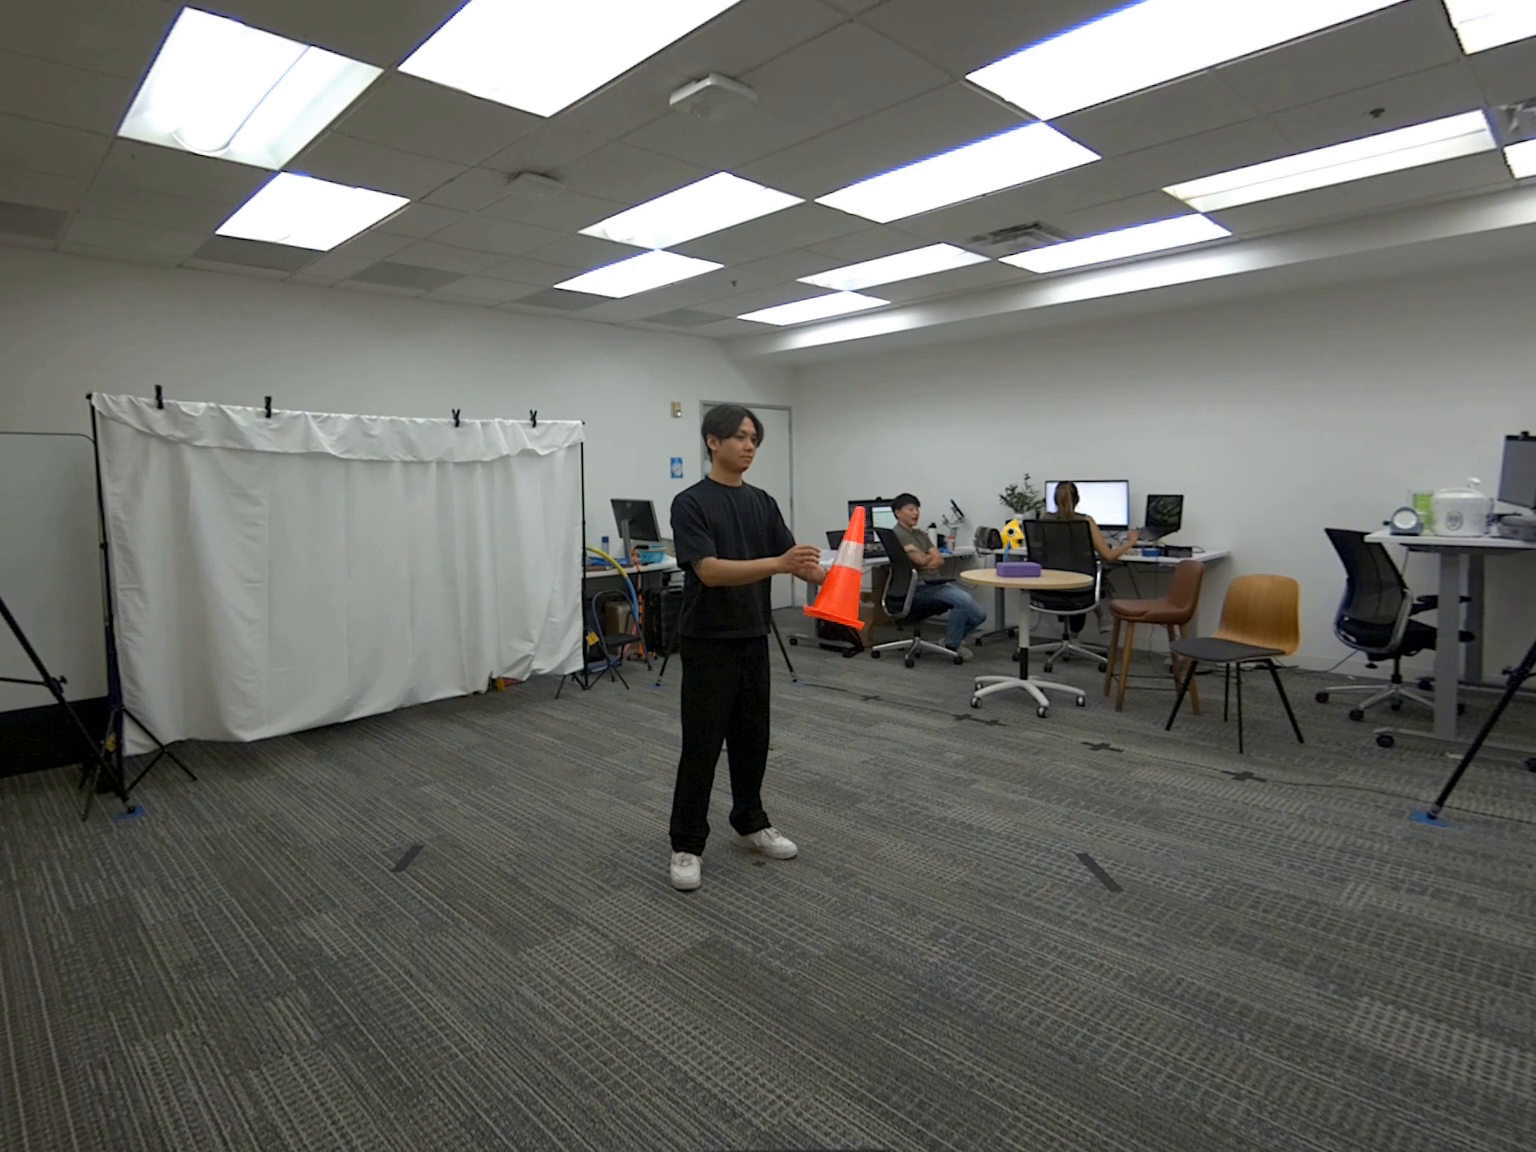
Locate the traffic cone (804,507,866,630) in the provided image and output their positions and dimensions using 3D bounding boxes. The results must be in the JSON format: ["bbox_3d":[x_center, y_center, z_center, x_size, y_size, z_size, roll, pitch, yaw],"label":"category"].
[{"bbox_3d":[0.270,-0.041,2.815,0.211,0.385,0.196,10,-7,30],"label":"traffic cone"}]
